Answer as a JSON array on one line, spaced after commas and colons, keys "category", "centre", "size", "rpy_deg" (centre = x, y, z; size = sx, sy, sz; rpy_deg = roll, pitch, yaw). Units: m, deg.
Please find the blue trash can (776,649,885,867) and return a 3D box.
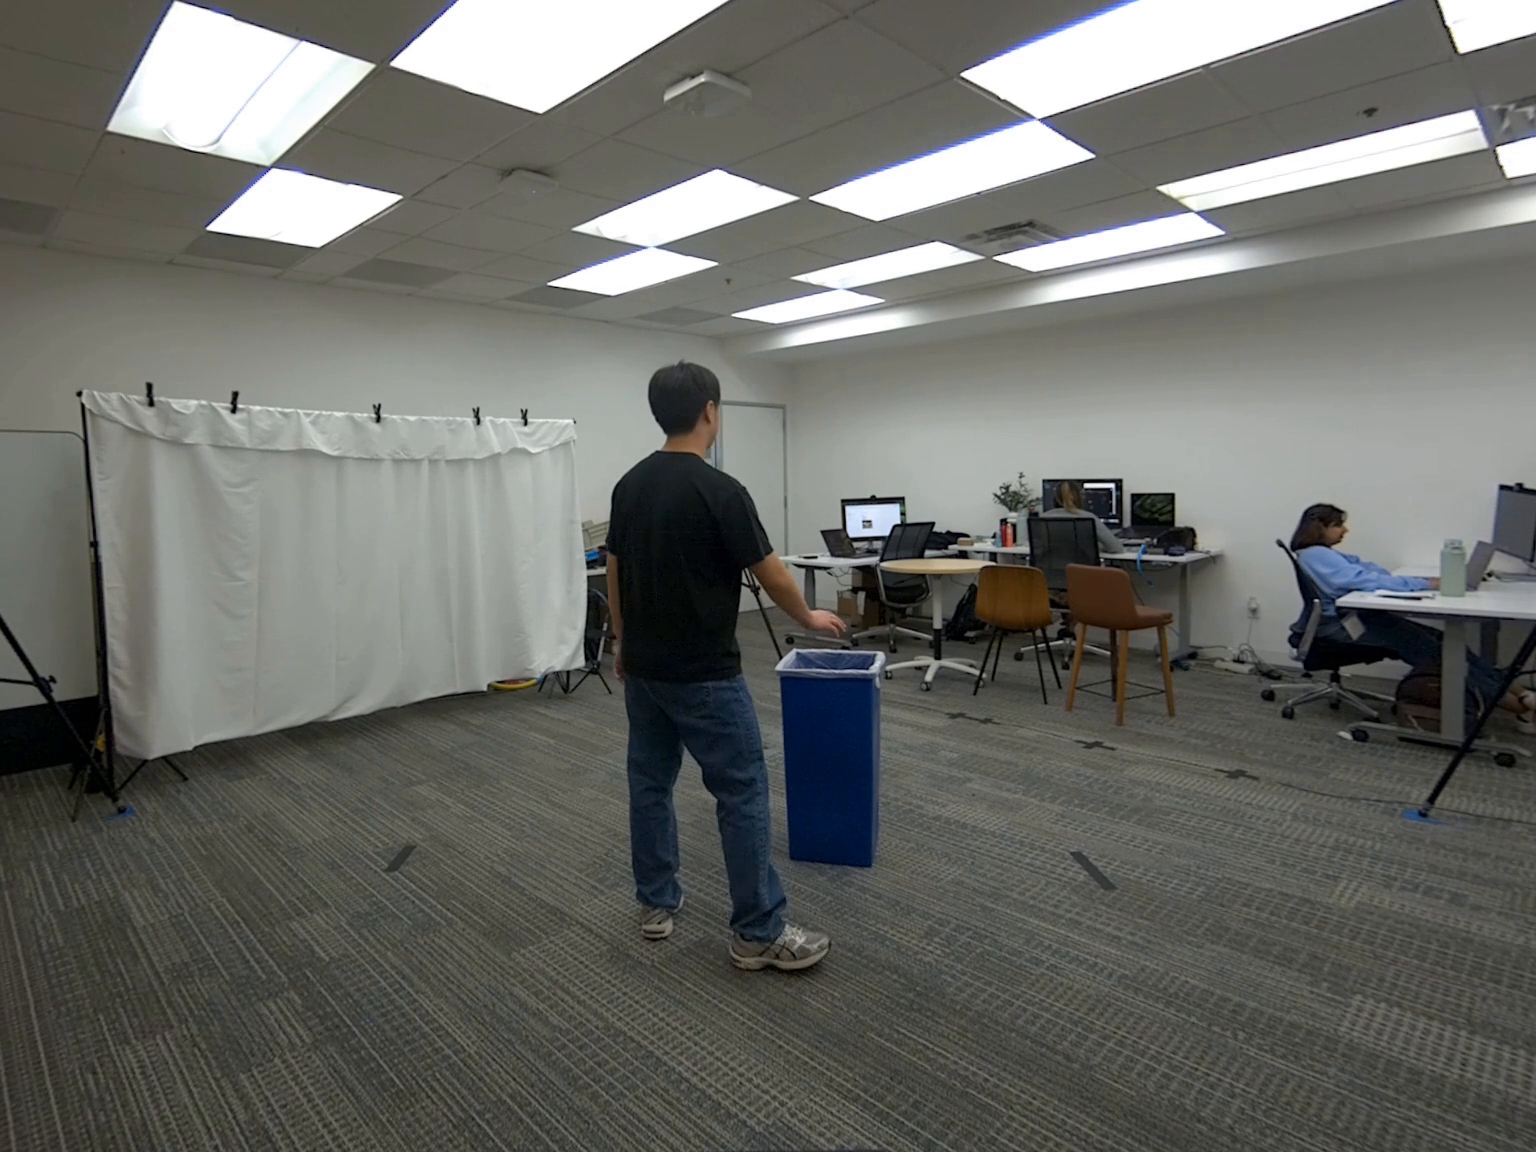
[{"category": "blue trash can", "centre": [0.255, 0.665, 3.213], "size": [0.379, 0.711, 0.374], "rpy_deg": [-1, 4, 14]}]
